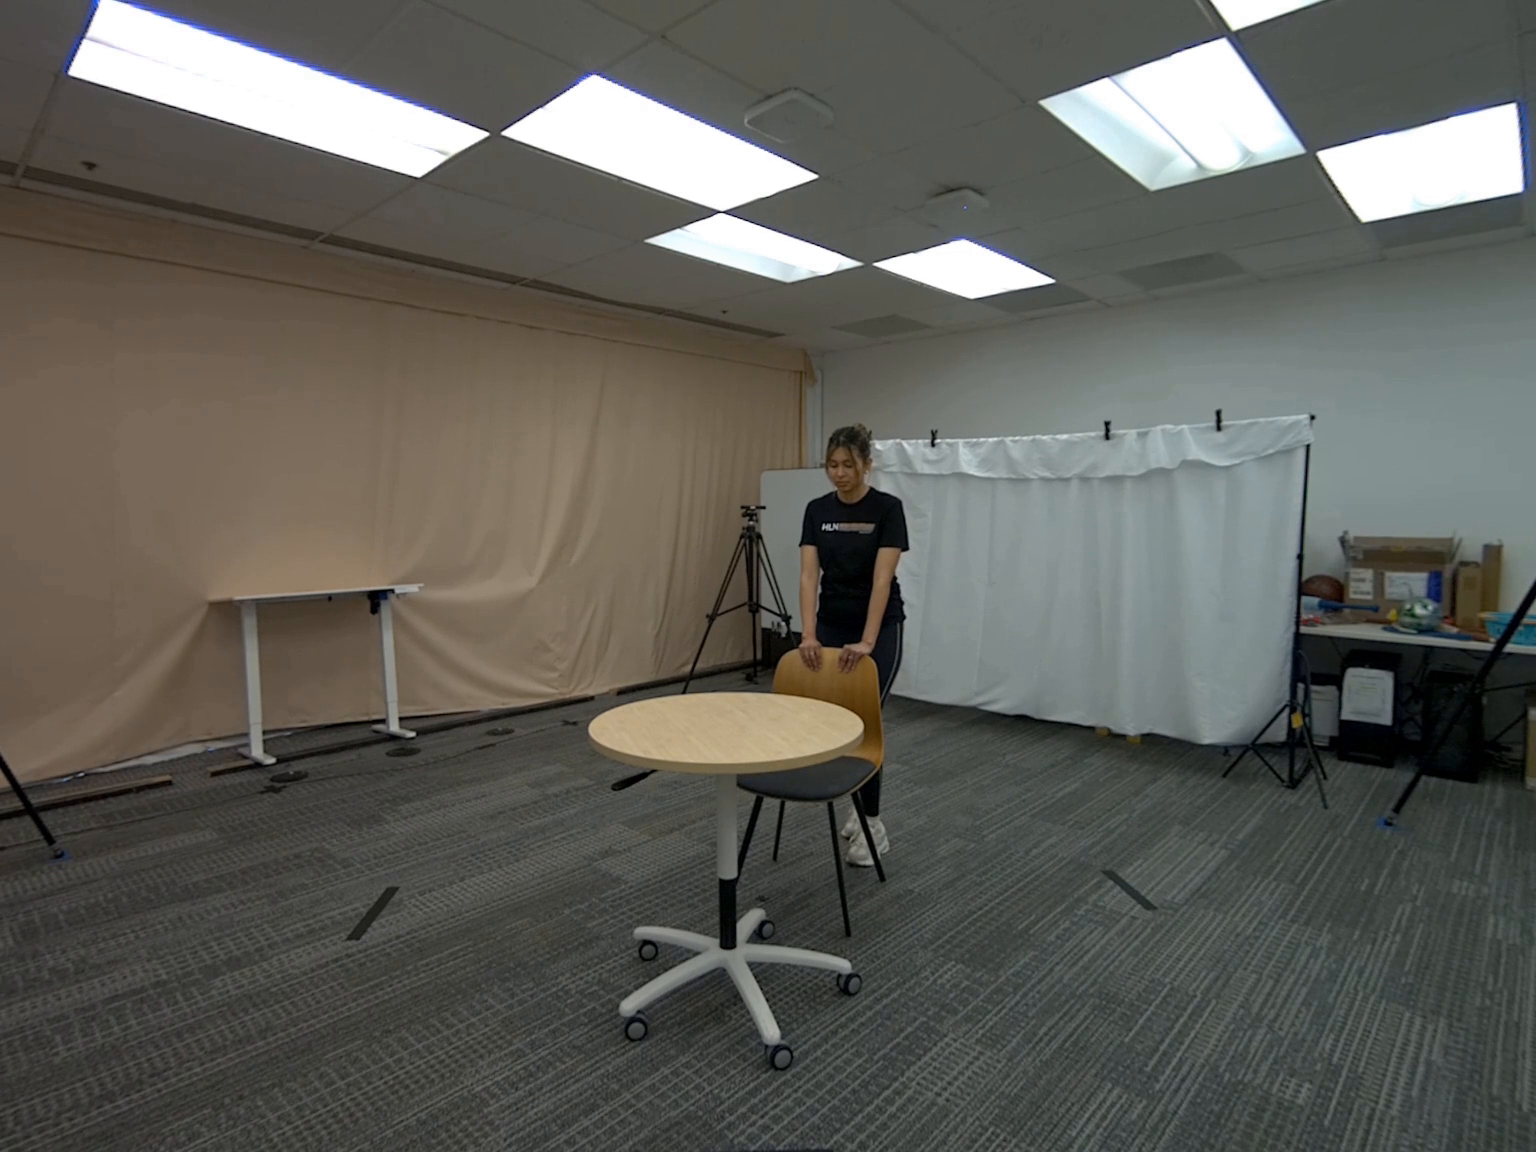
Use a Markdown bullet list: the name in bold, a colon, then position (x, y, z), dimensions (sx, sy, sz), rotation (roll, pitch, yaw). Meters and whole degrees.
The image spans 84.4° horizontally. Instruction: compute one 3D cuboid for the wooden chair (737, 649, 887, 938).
- **wooden chair**: position (0.146, 0.714, 2.977), dimensions (0.490, 0.877, 0.510), rotation (2, 0, 25)
